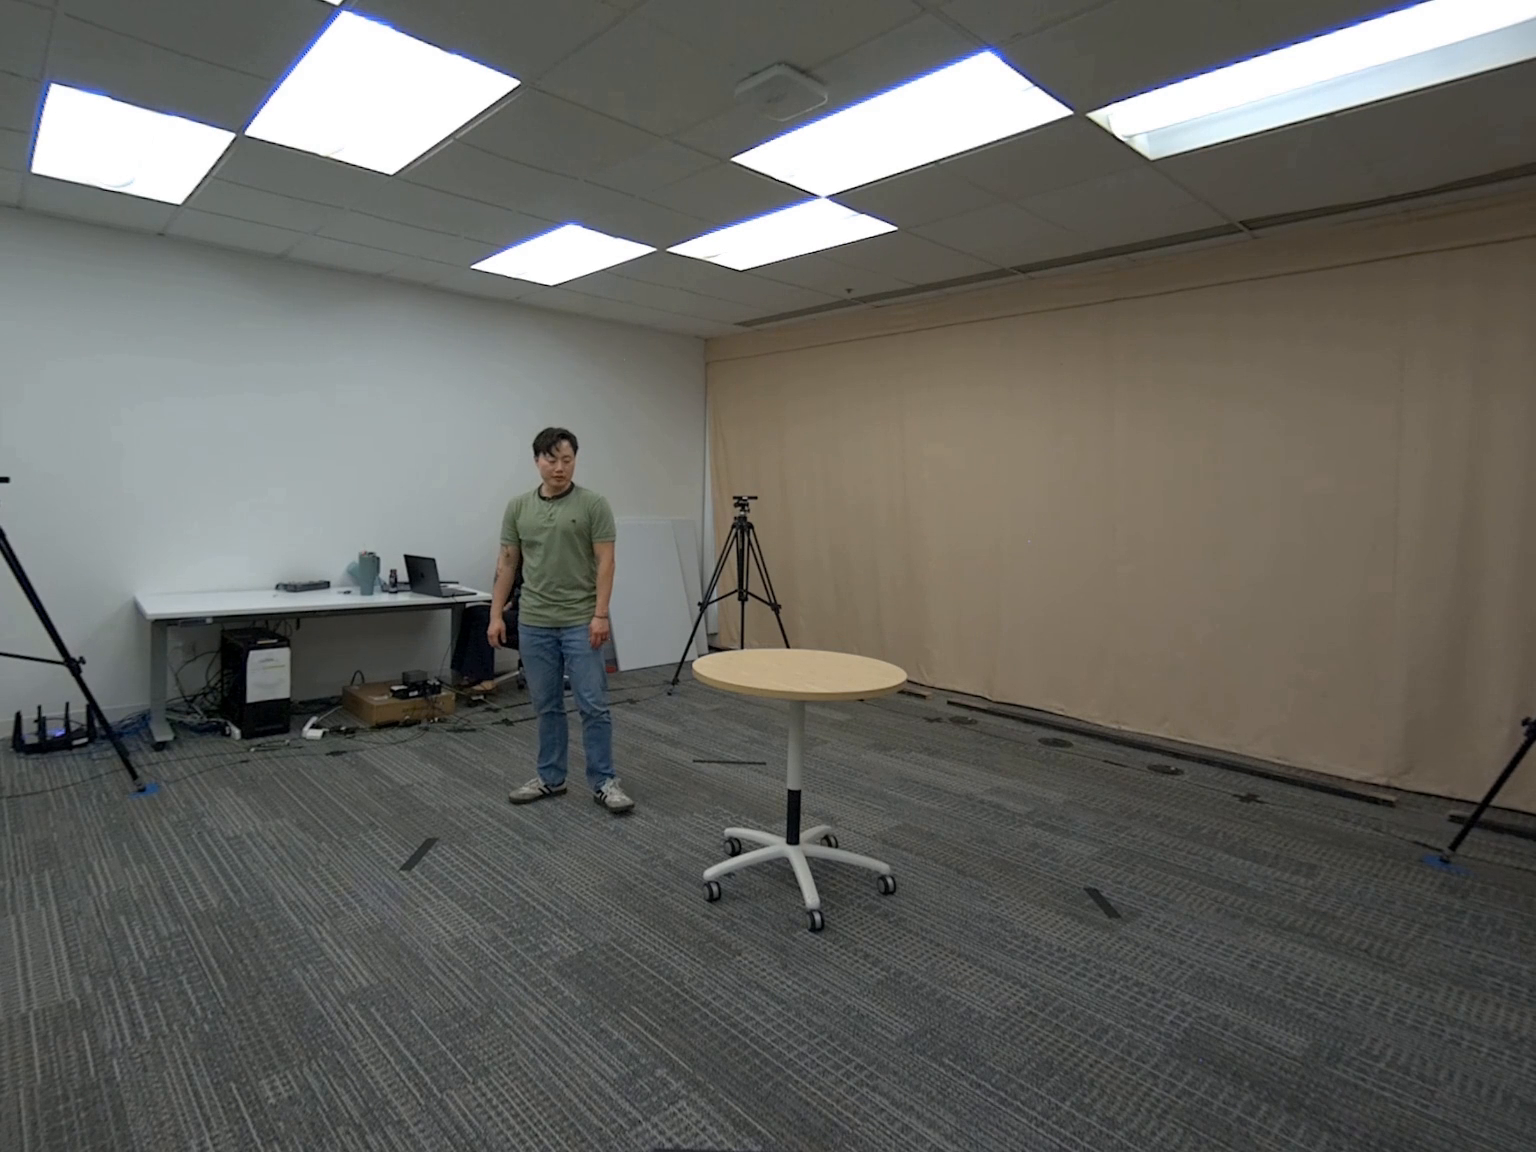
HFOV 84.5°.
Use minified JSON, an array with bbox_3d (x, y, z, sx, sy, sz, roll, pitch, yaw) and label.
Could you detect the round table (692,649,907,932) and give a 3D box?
[{"bbox_3d":[0.089,0.725,3.044,0.763,0.792,0.766,2,4,-1],"label":"round table"}]
